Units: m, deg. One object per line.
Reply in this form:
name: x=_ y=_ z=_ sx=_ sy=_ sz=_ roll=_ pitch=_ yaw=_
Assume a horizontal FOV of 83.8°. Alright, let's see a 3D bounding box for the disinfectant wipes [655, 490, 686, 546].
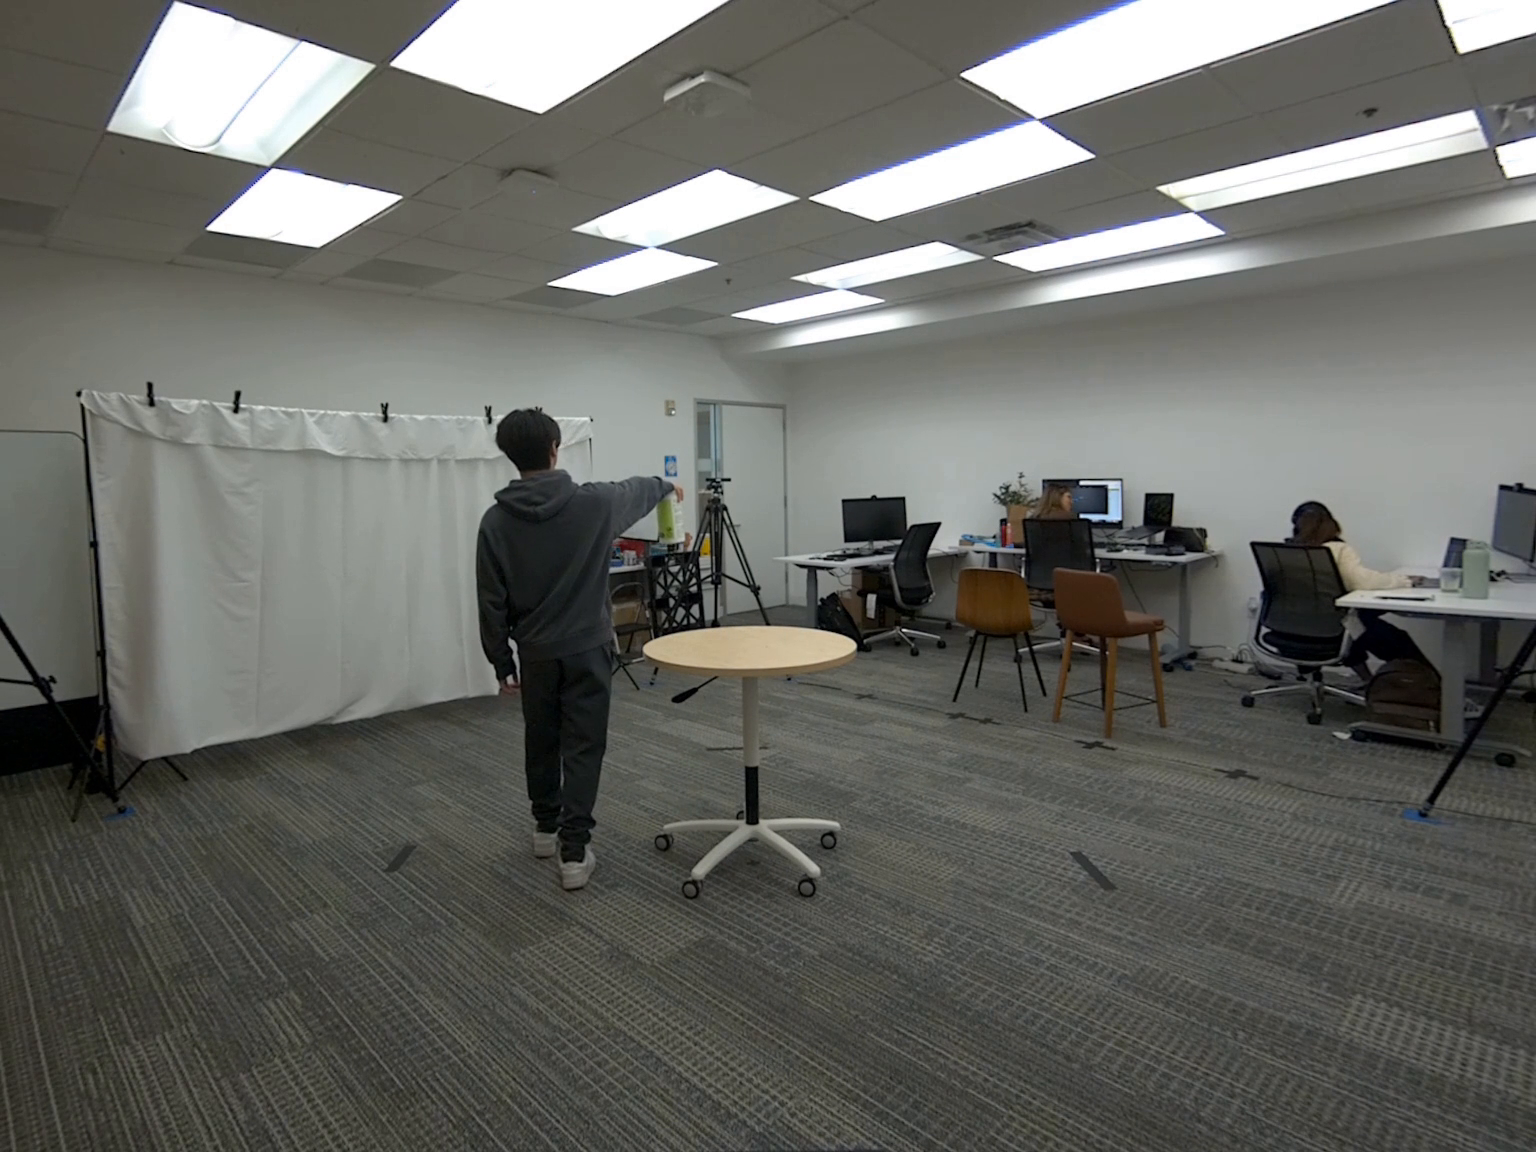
disinfectant wipes: x=-0.412 y=-0.248 z=3.612 sx=0.118 sy=0.216 sz=0.118 roll=-1 pitch=7 yaw=-2
